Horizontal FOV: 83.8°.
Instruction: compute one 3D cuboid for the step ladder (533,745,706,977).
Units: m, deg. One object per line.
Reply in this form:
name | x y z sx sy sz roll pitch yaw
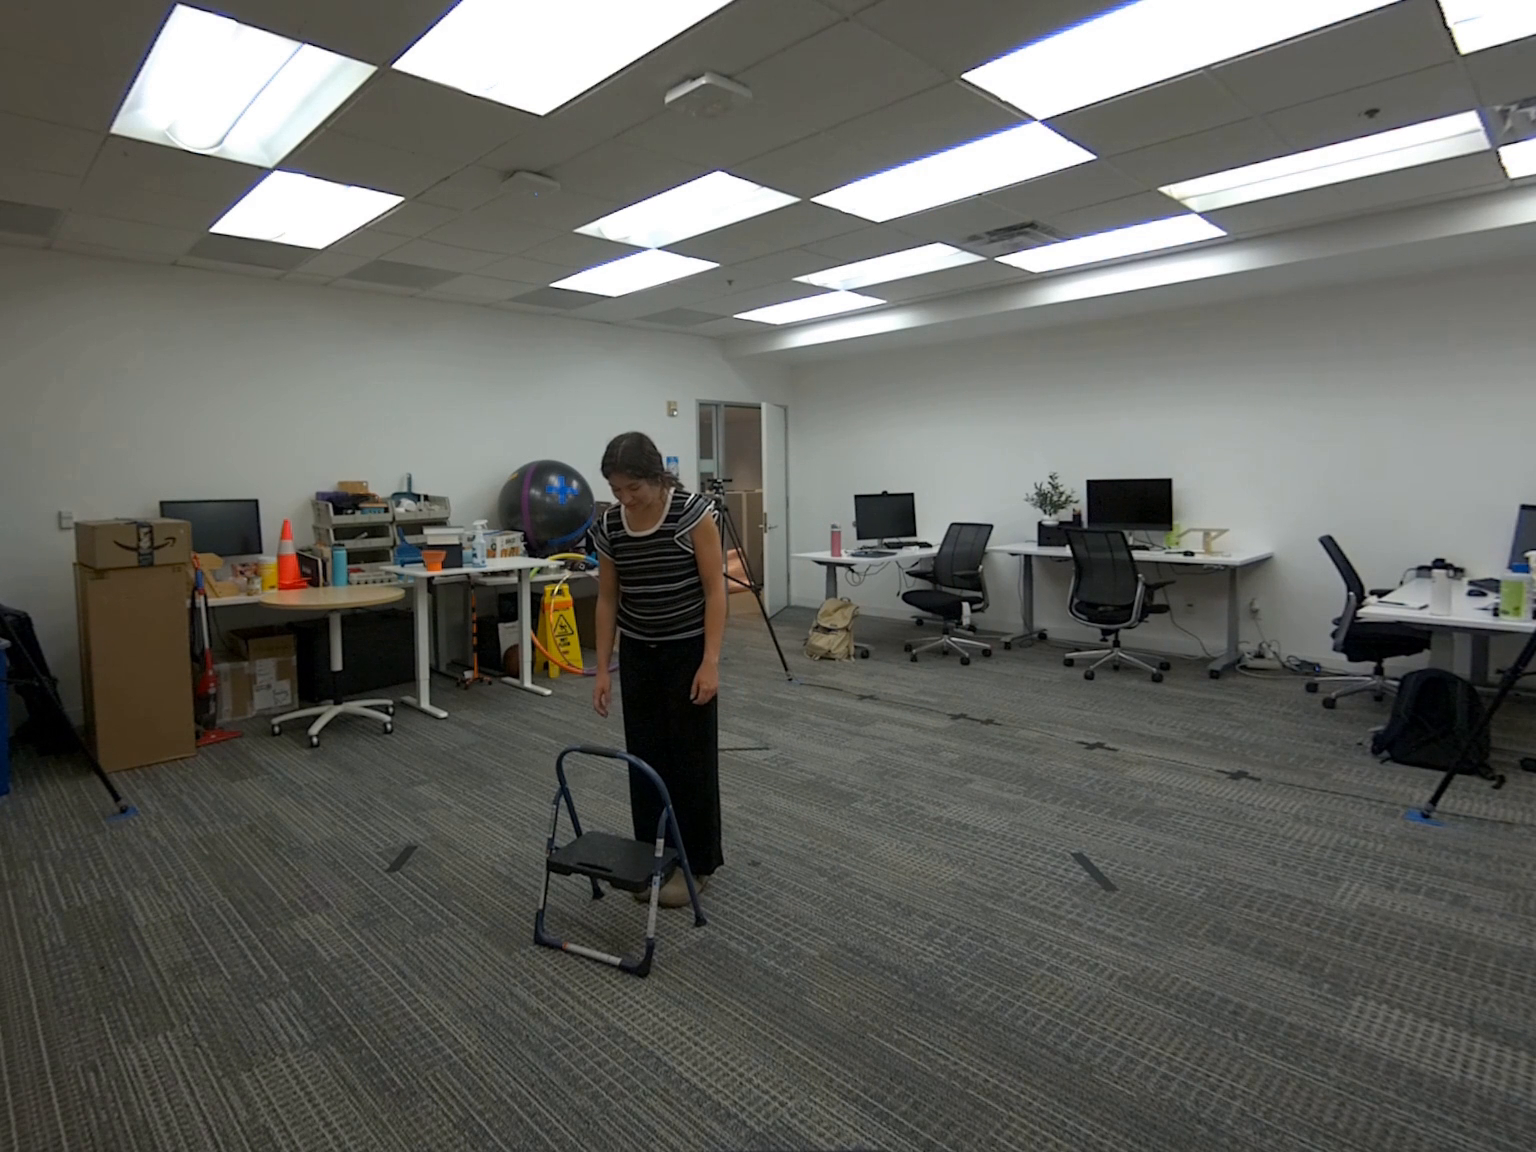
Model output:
step ladder | -0.465 0.809 2.626 0.441 0.603 0.342 1 6 27
